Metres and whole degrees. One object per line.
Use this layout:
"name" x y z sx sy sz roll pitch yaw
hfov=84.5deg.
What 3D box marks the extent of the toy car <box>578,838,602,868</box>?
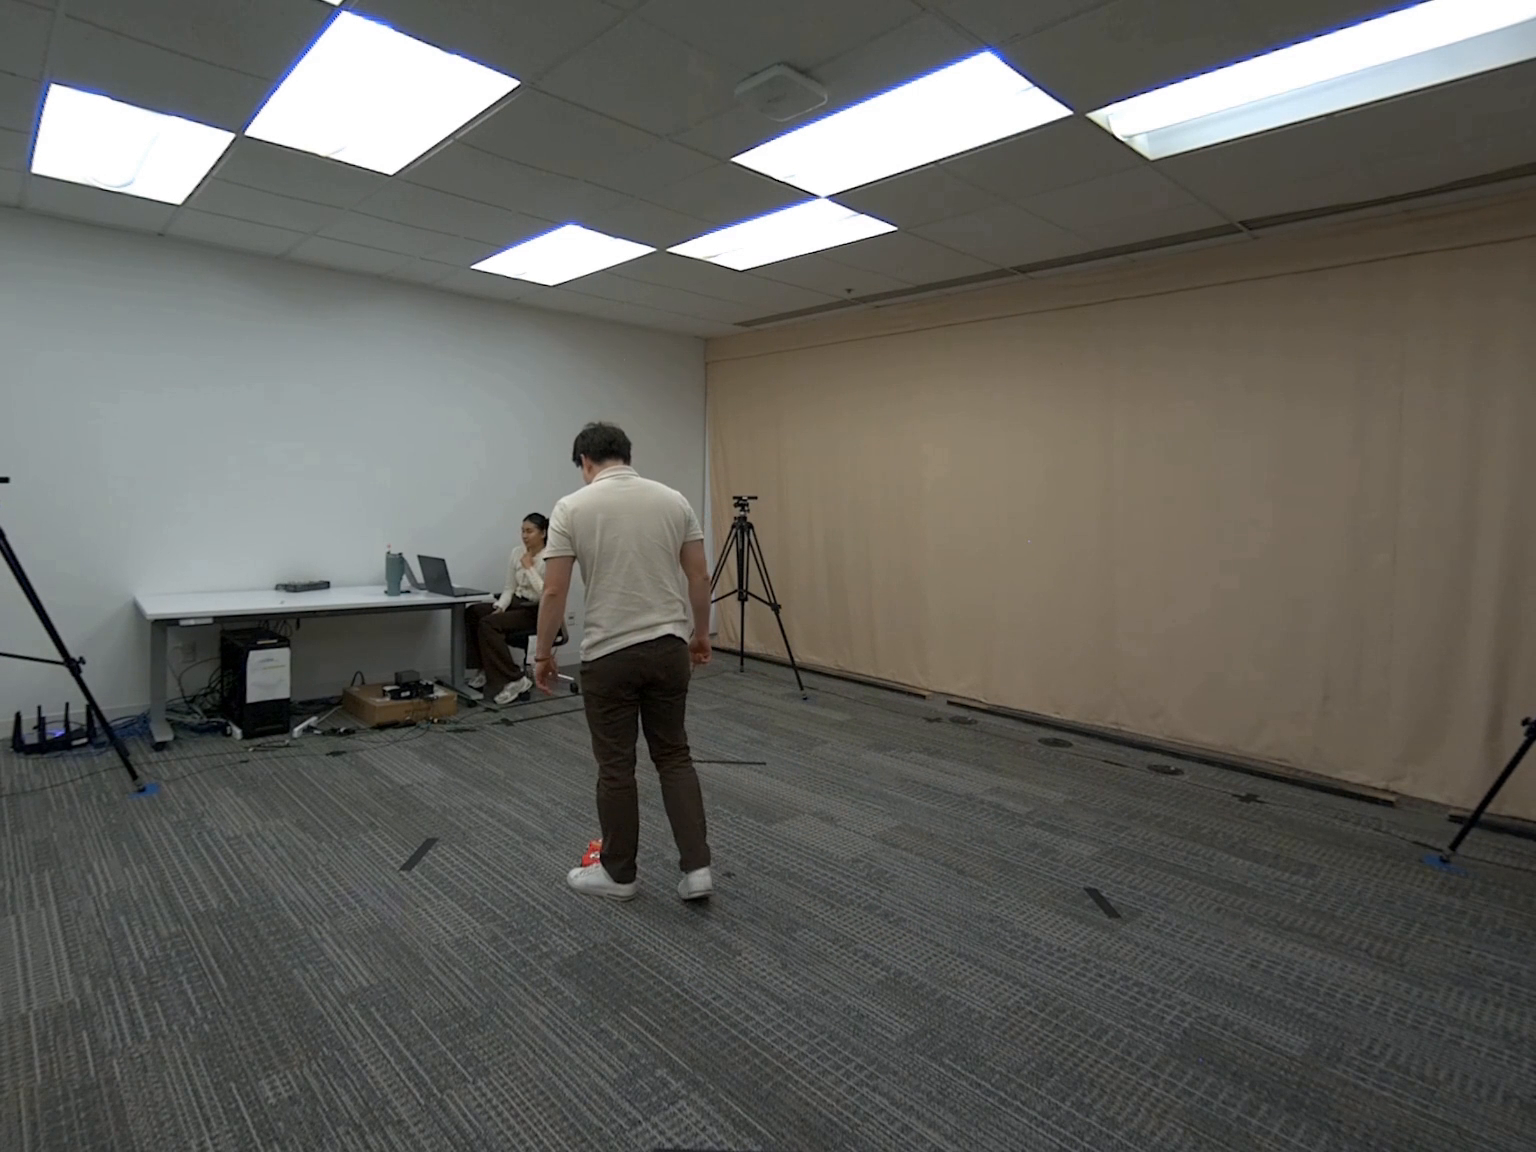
"toy car" -0.640 1.056 3.163 0.130 0.083 0.253 2 -6 1
